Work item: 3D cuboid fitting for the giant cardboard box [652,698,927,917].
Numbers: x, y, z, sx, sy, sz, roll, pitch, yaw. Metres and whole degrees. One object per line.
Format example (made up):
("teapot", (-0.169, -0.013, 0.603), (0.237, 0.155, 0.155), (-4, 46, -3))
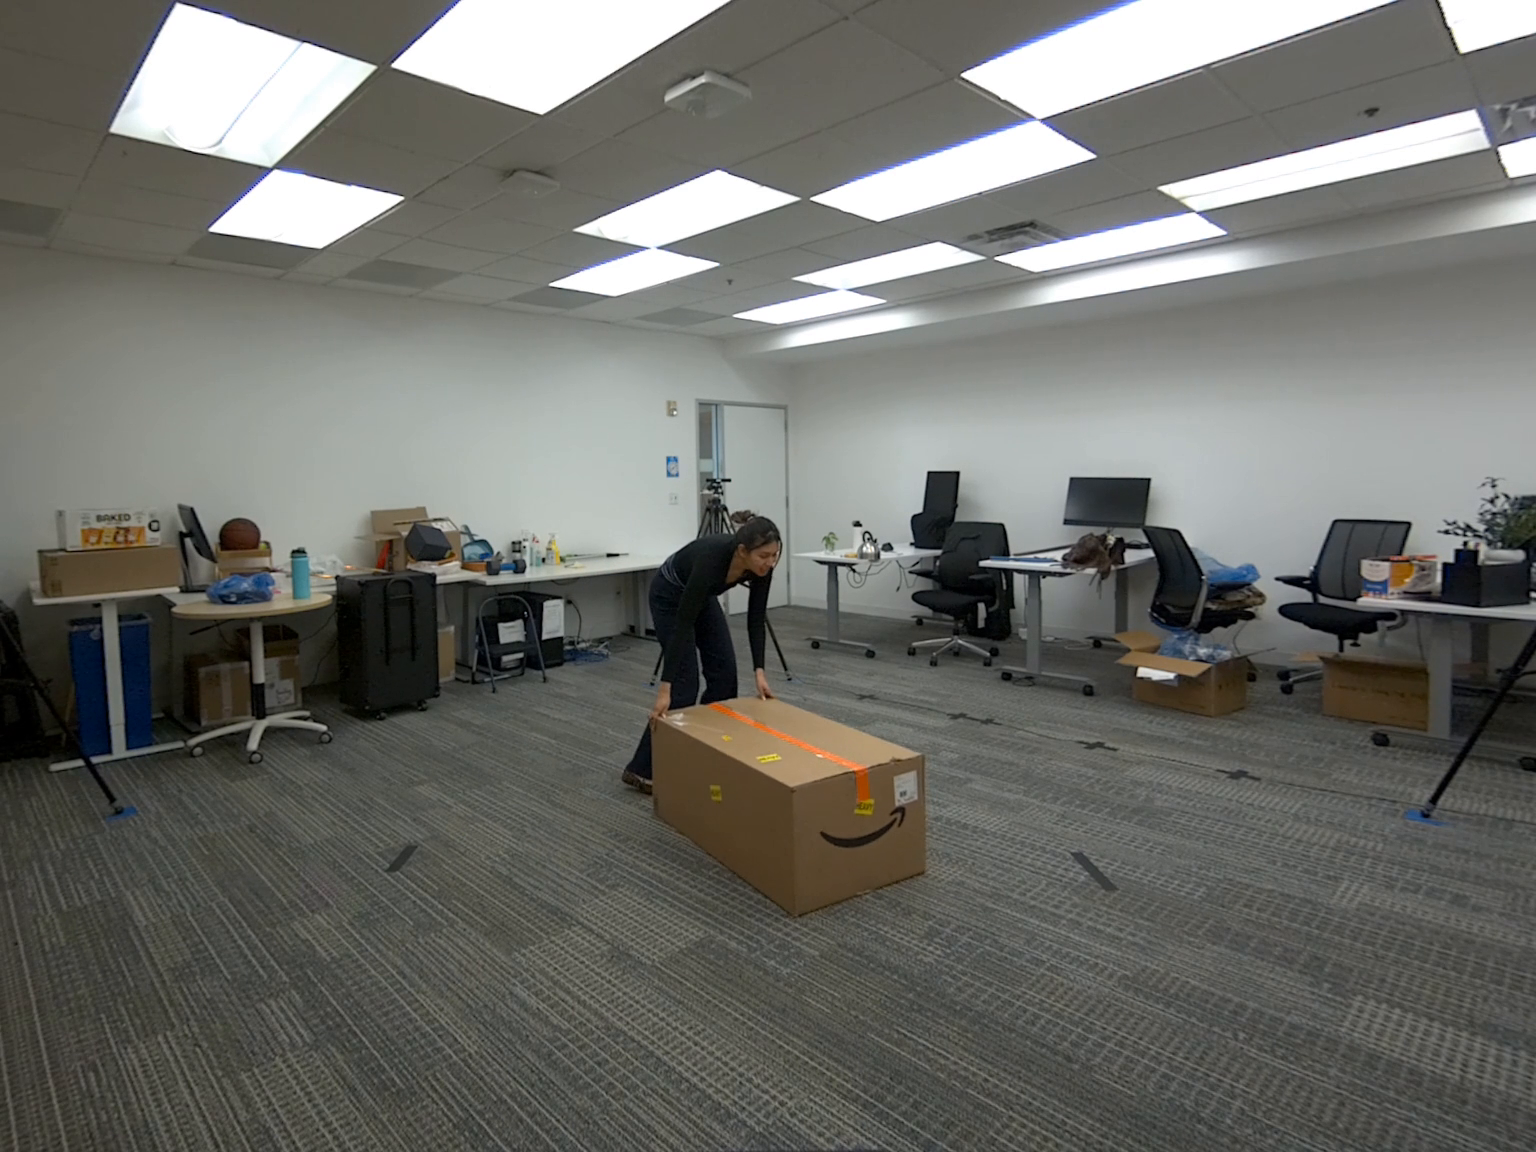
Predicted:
("giant cardboard box", (0.034, 0.811, 3.276), (0.564, 0.424, 1.055), (-5, 7, -32))
